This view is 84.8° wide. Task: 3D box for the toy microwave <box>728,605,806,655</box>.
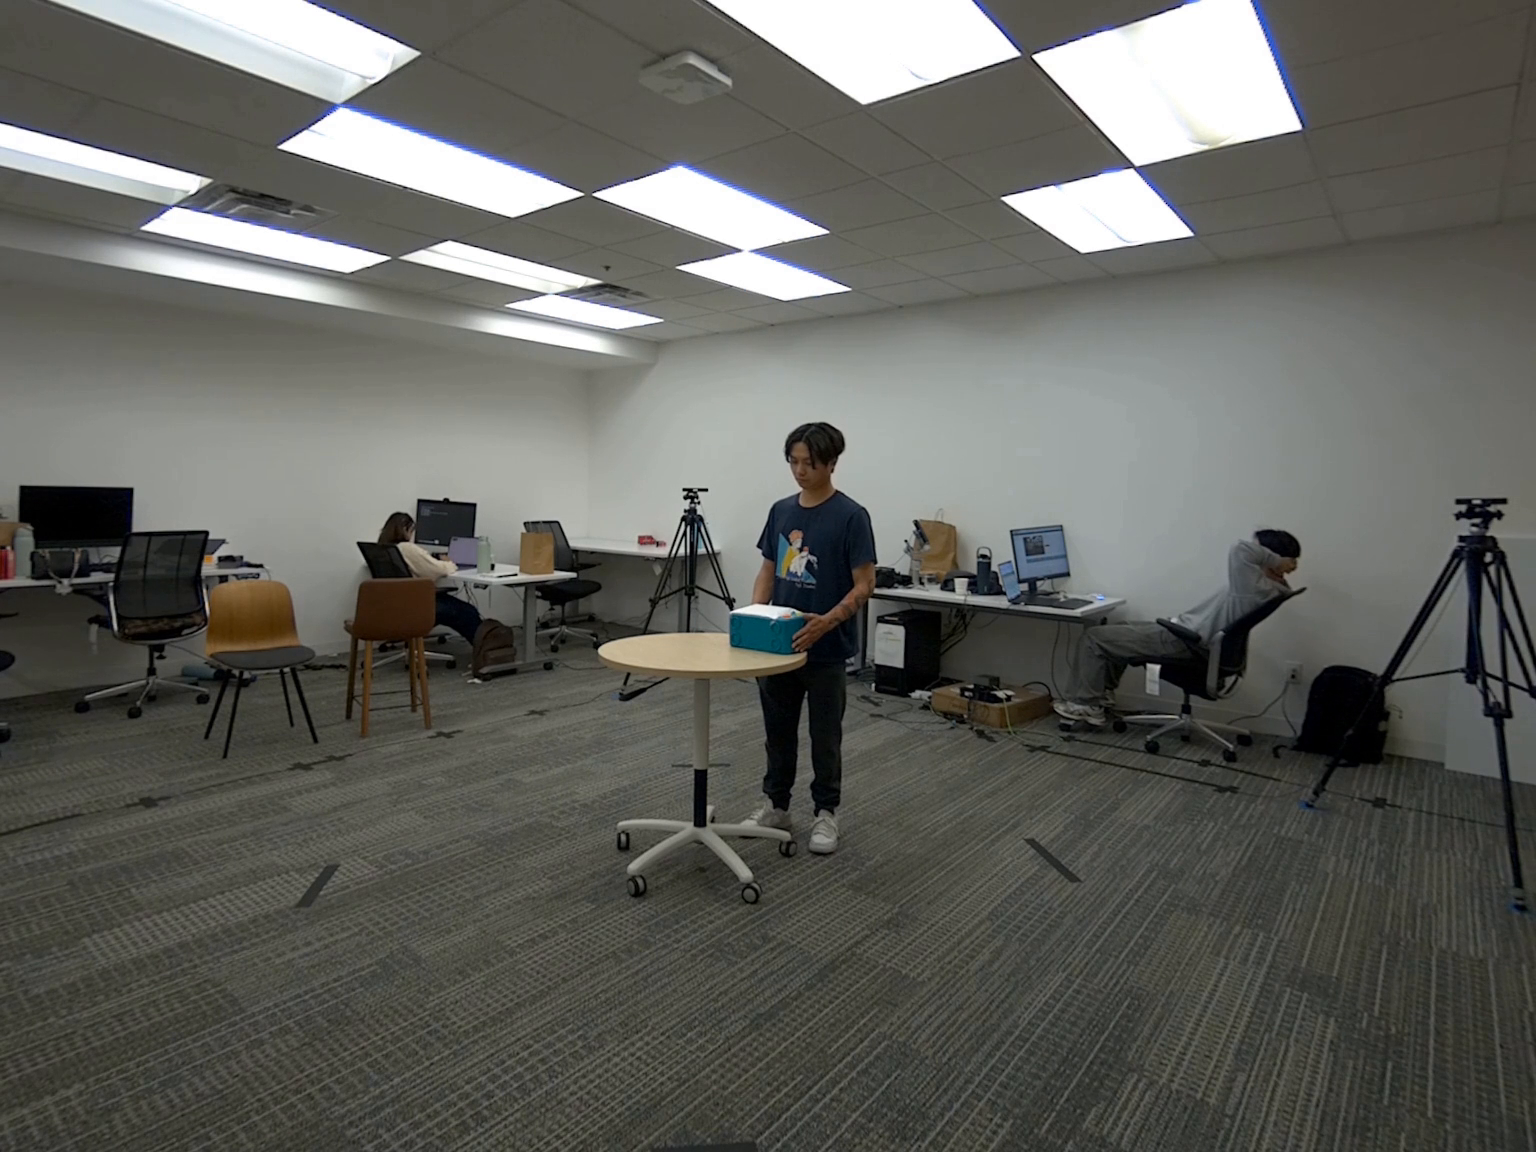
[{"bbox_3d":[-0.007,0.190,3.185,0.296,0.151,0.179,4,8,39],"label":"toy microwave"}]
